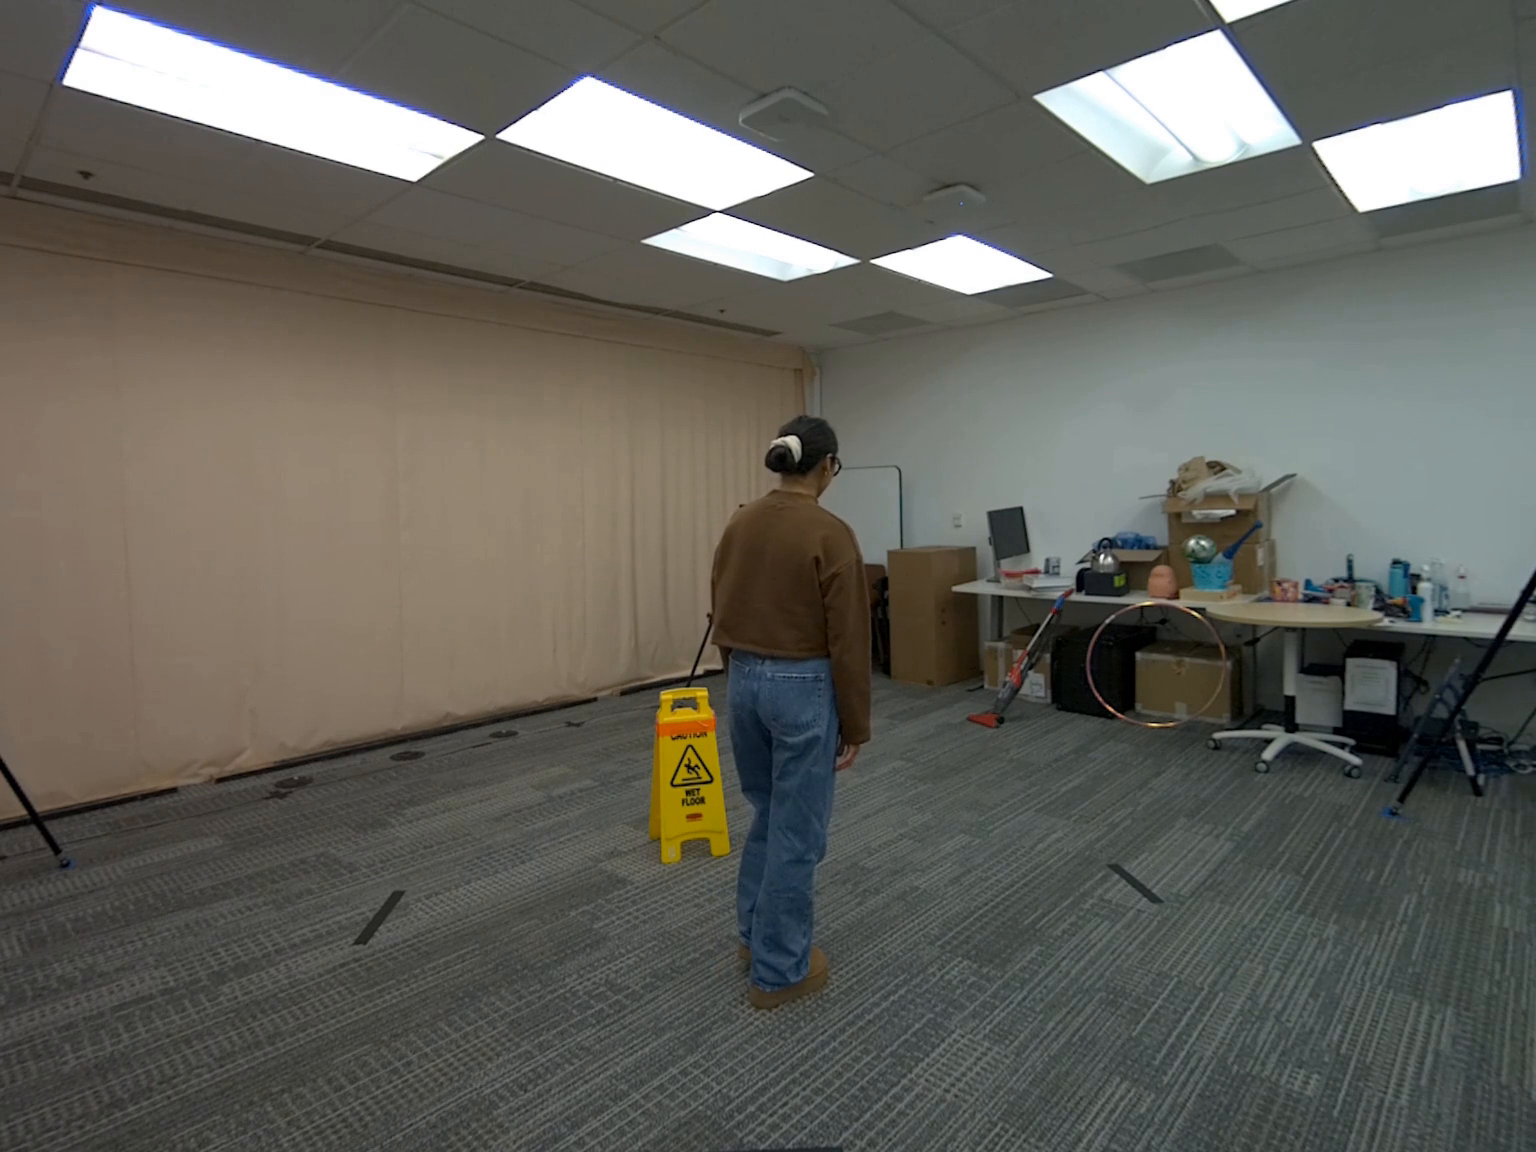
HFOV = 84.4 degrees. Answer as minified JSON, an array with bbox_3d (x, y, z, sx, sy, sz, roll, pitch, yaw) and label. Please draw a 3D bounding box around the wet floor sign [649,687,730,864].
[{"bbox_3d":[-0.332,0.783,3.437,0.277,0.645,0.295,-1,3,-18],"label":"wet floor sign"}]
